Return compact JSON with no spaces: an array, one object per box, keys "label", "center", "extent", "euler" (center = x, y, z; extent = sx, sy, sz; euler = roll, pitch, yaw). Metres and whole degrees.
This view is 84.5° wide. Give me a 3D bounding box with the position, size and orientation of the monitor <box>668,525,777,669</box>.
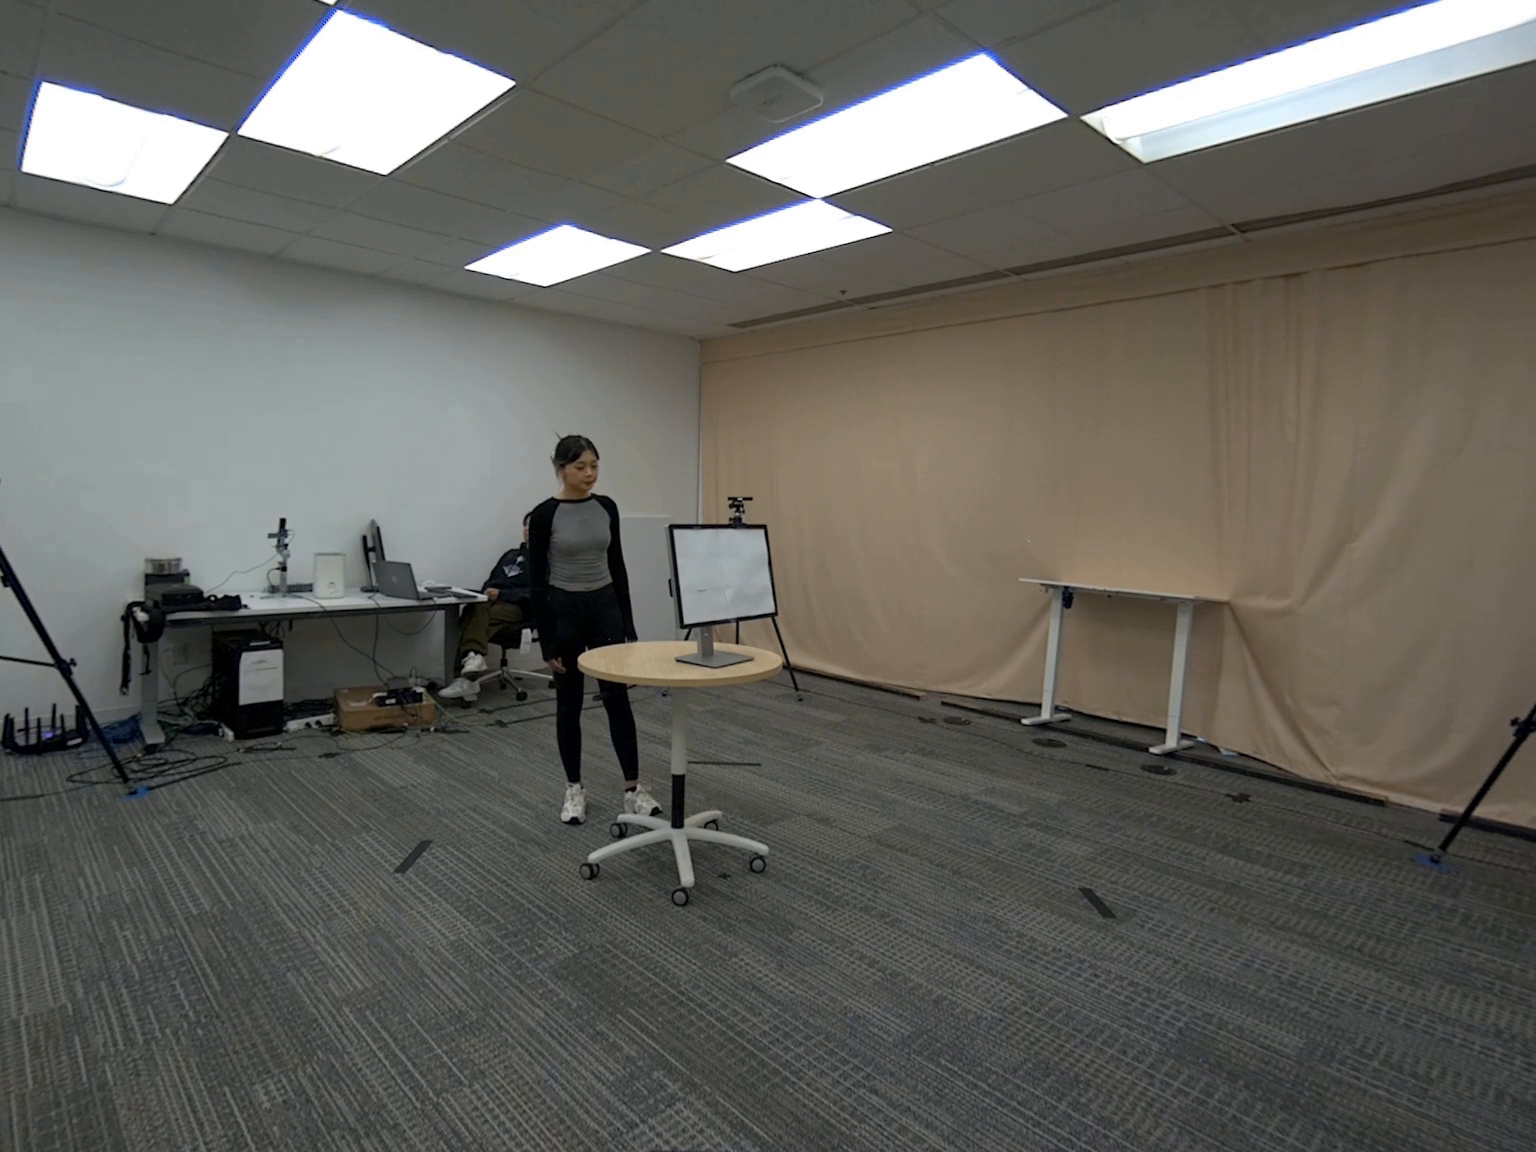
[{"label":"monitor","center":[-0.193,0.071,3.110],"extent":[0.179,0.514,0.518],"euler":[13,8,36]}]
